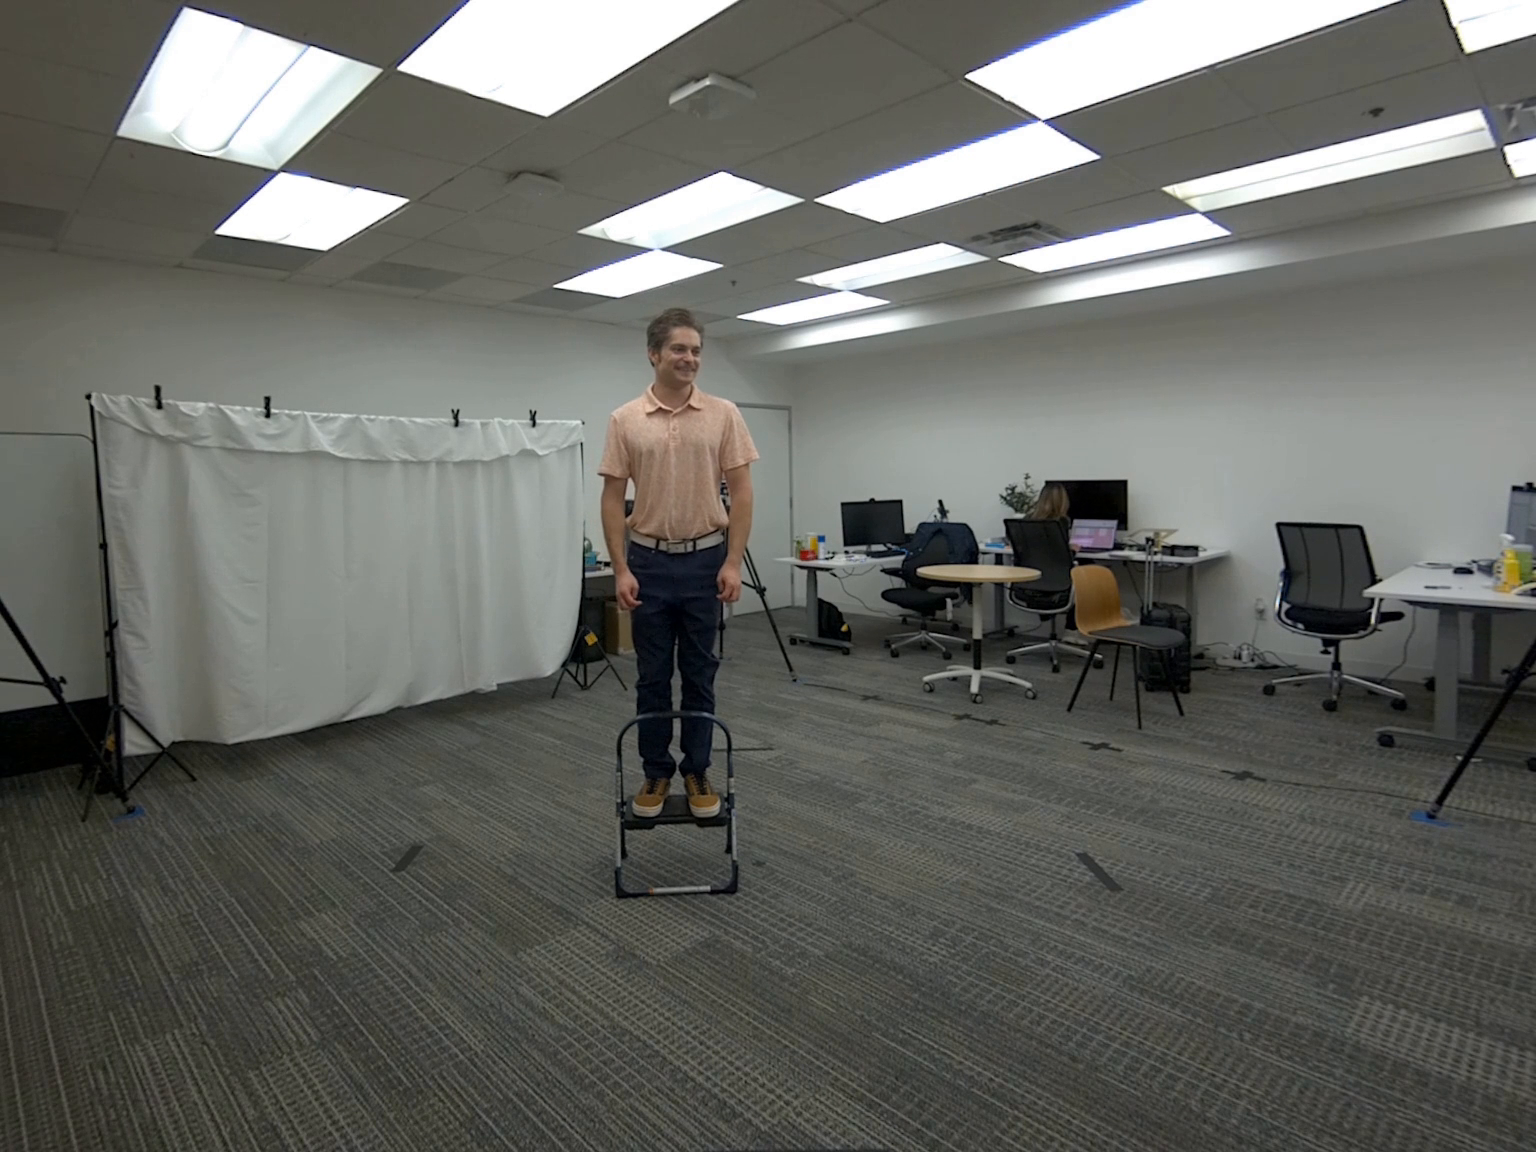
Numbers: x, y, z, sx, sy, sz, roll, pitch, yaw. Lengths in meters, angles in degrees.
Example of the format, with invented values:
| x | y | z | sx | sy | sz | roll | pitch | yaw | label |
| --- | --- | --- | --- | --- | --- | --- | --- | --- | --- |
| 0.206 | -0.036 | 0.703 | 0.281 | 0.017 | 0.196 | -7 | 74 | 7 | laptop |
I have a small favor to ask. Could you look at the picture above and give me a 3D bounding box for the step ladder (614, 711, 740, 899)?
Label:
| x | y | z | sx | sy | sz | roll | pitch | yaw | label |
| --- | --- | --- | --- | --- | --- | --- | --- | --- | --- |
| -0.329 | 0.763 | 3.024 | 0.429 | 0.604 | 0.352 | -2 | 4 | -5 | step ladder |
